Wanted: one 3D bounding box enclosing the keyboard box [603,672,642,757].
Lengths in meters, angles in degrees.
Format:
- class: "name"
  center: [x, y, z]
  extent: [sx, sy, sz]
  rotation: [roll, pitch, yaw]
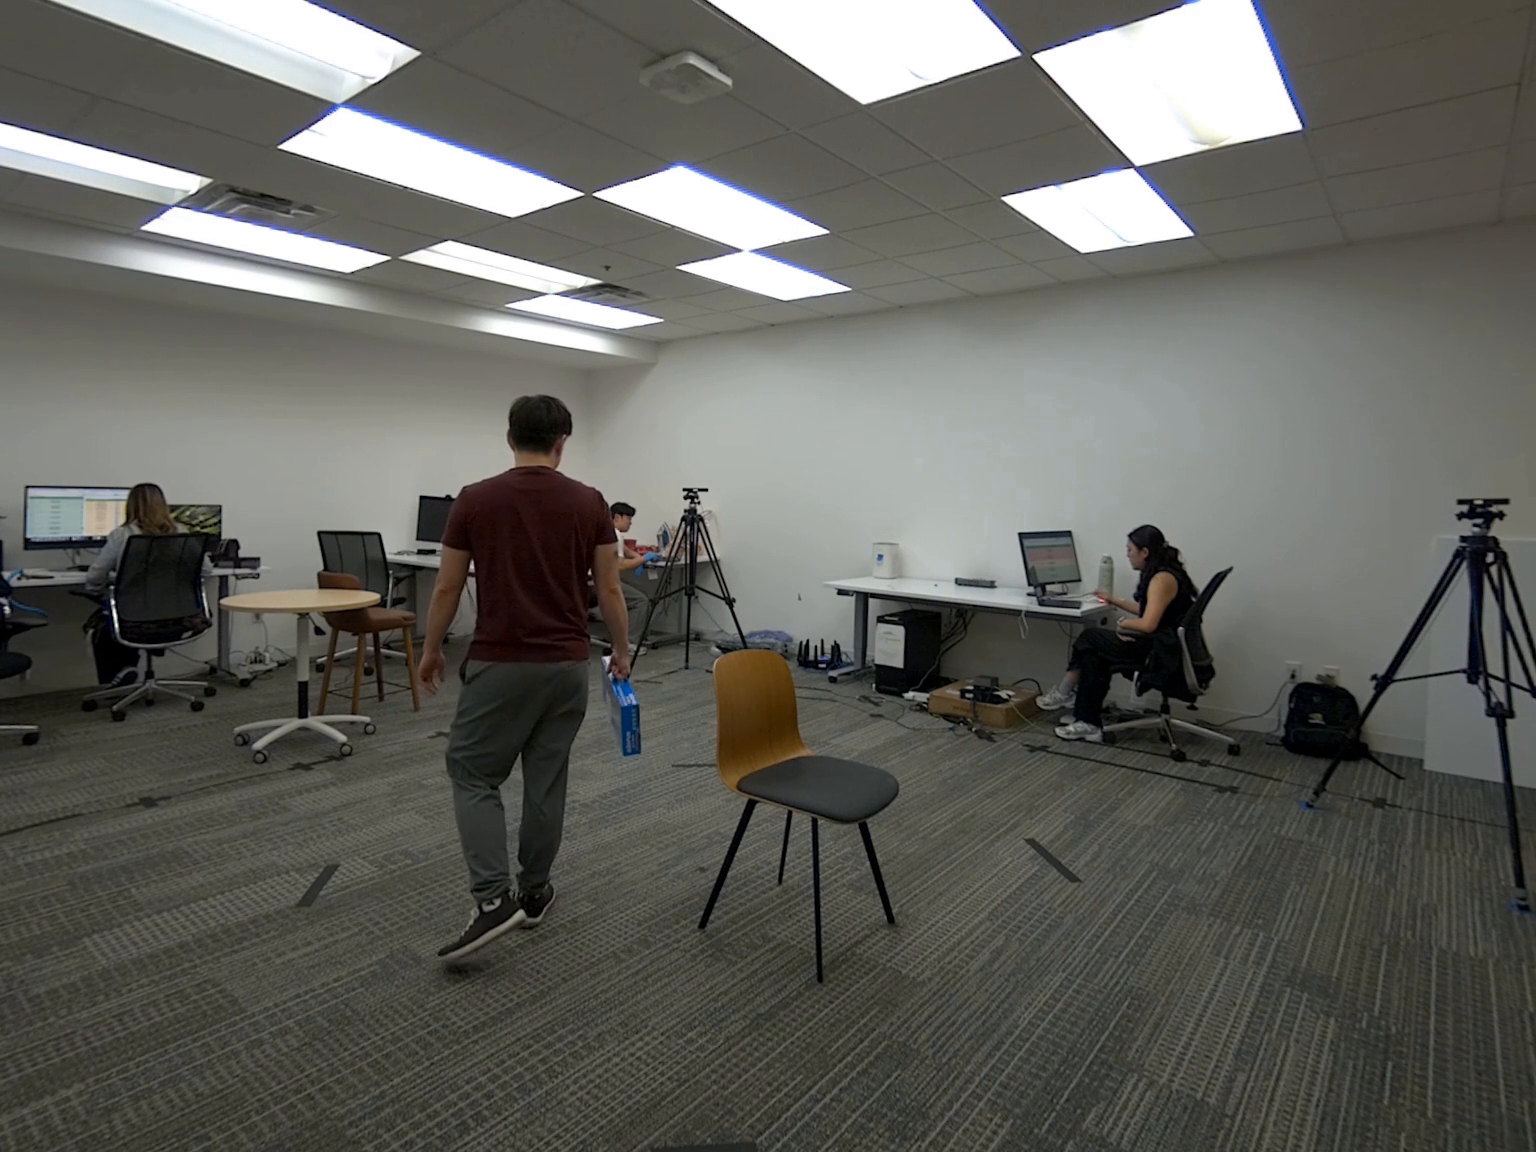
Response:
- class: "keyboard box"
  center: [-0.513, 0.430, 2.857]
  extent: [0.058, 0.174, 0.449]
  rotation: [-3, 15, -17]
